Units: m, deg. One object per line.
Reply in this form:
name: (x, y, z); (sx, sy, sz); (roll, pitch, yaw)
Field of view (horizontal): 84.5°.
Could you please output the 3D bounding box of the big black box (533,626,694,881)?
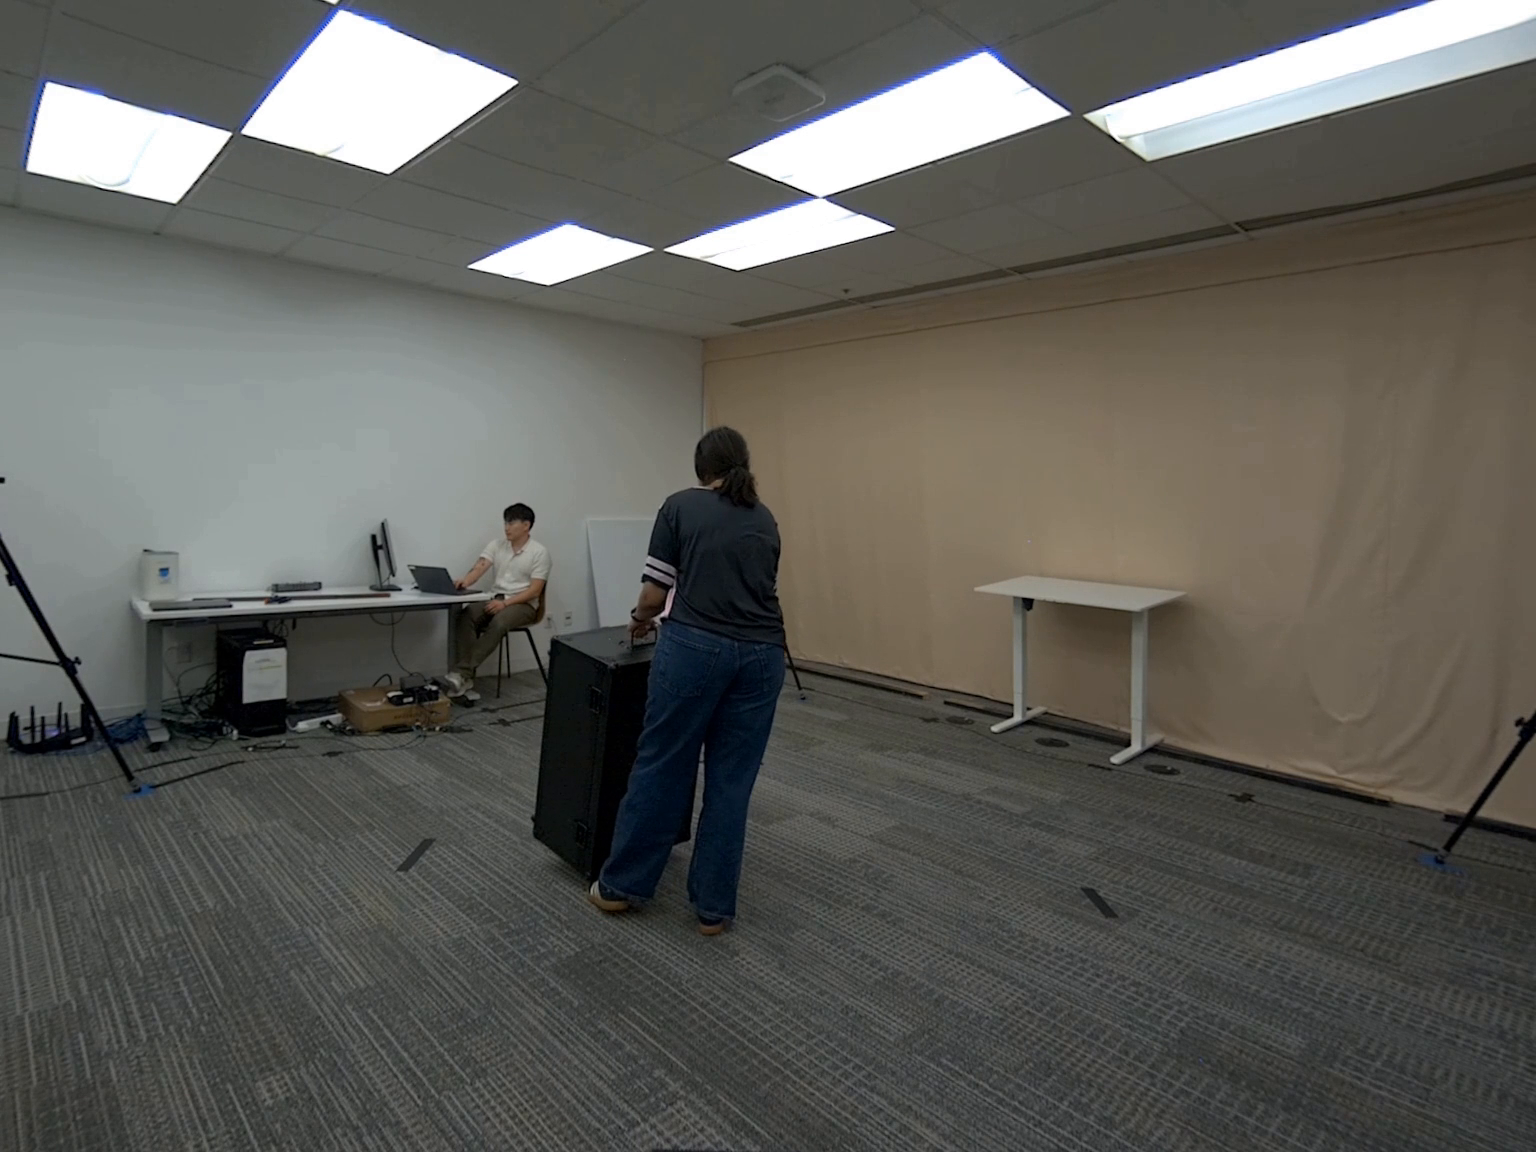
big black box: (-0.557, 0.654, 3.125); (0.396, 0.863, 0.512); (17, 14, 39)
